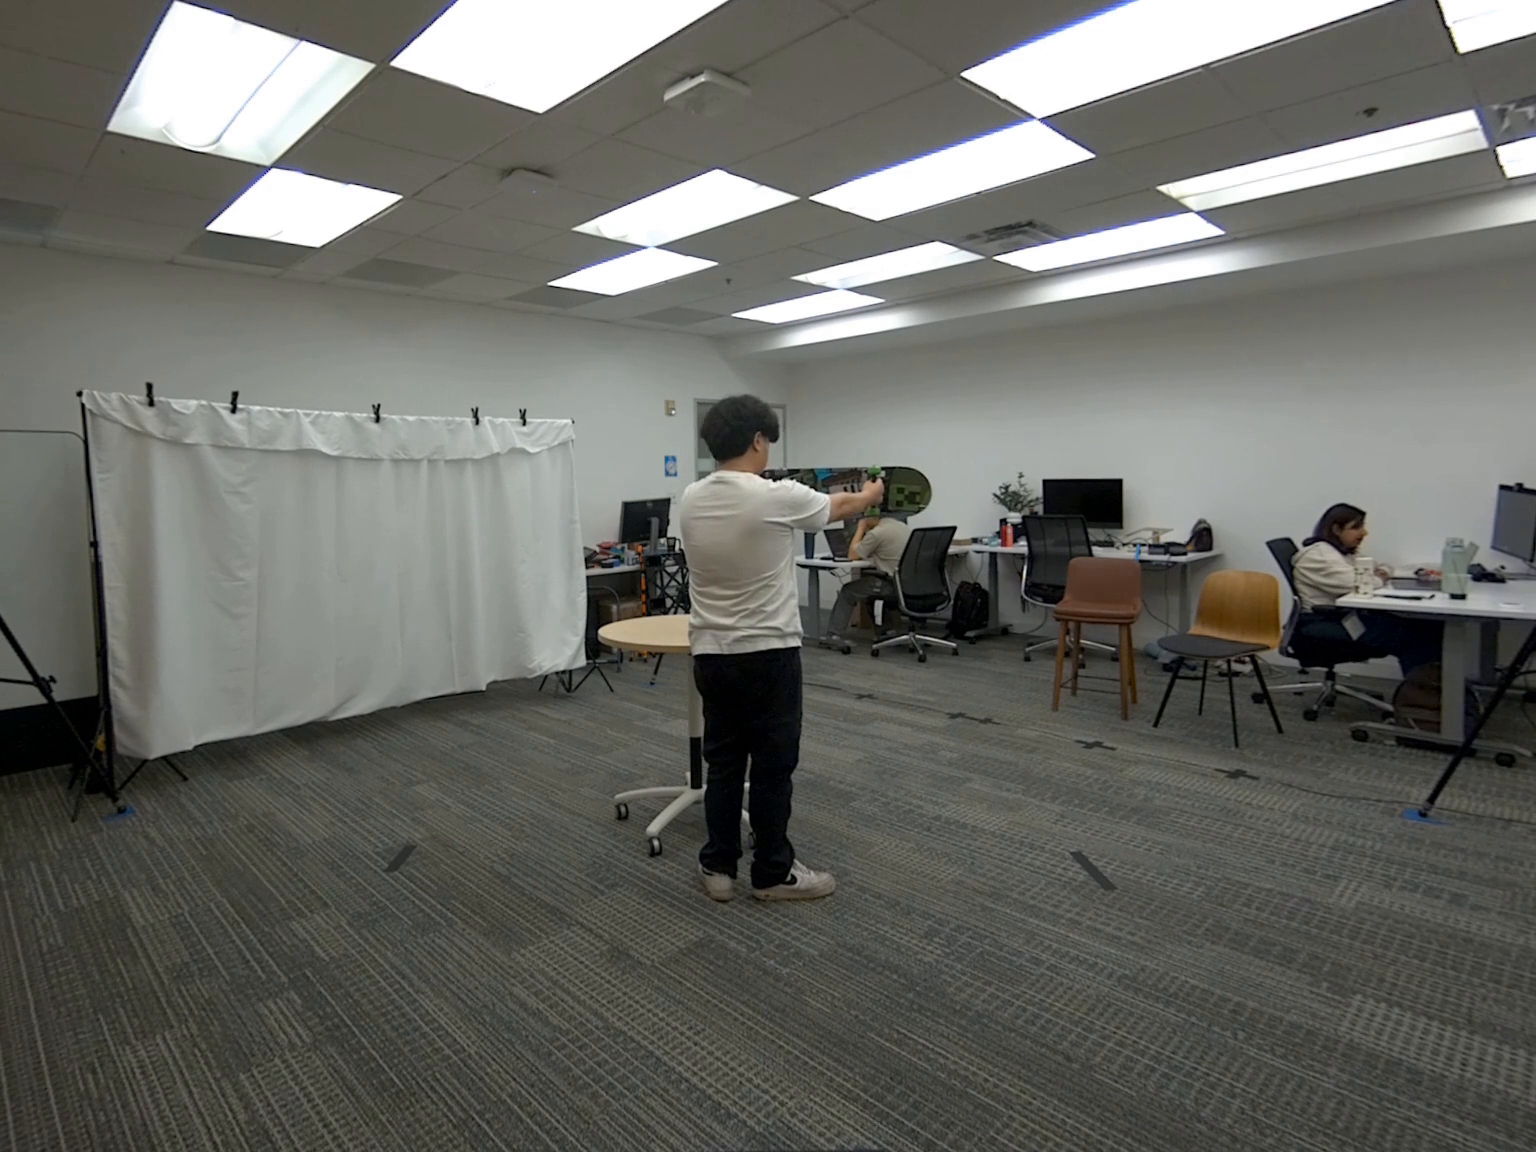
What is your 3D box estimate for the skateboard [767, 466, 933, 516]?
[{"bbox_3d":[0.239,-0.322,3.306,0.807,0.193,0.107,3,2,33],"label":"skateboard"}]
